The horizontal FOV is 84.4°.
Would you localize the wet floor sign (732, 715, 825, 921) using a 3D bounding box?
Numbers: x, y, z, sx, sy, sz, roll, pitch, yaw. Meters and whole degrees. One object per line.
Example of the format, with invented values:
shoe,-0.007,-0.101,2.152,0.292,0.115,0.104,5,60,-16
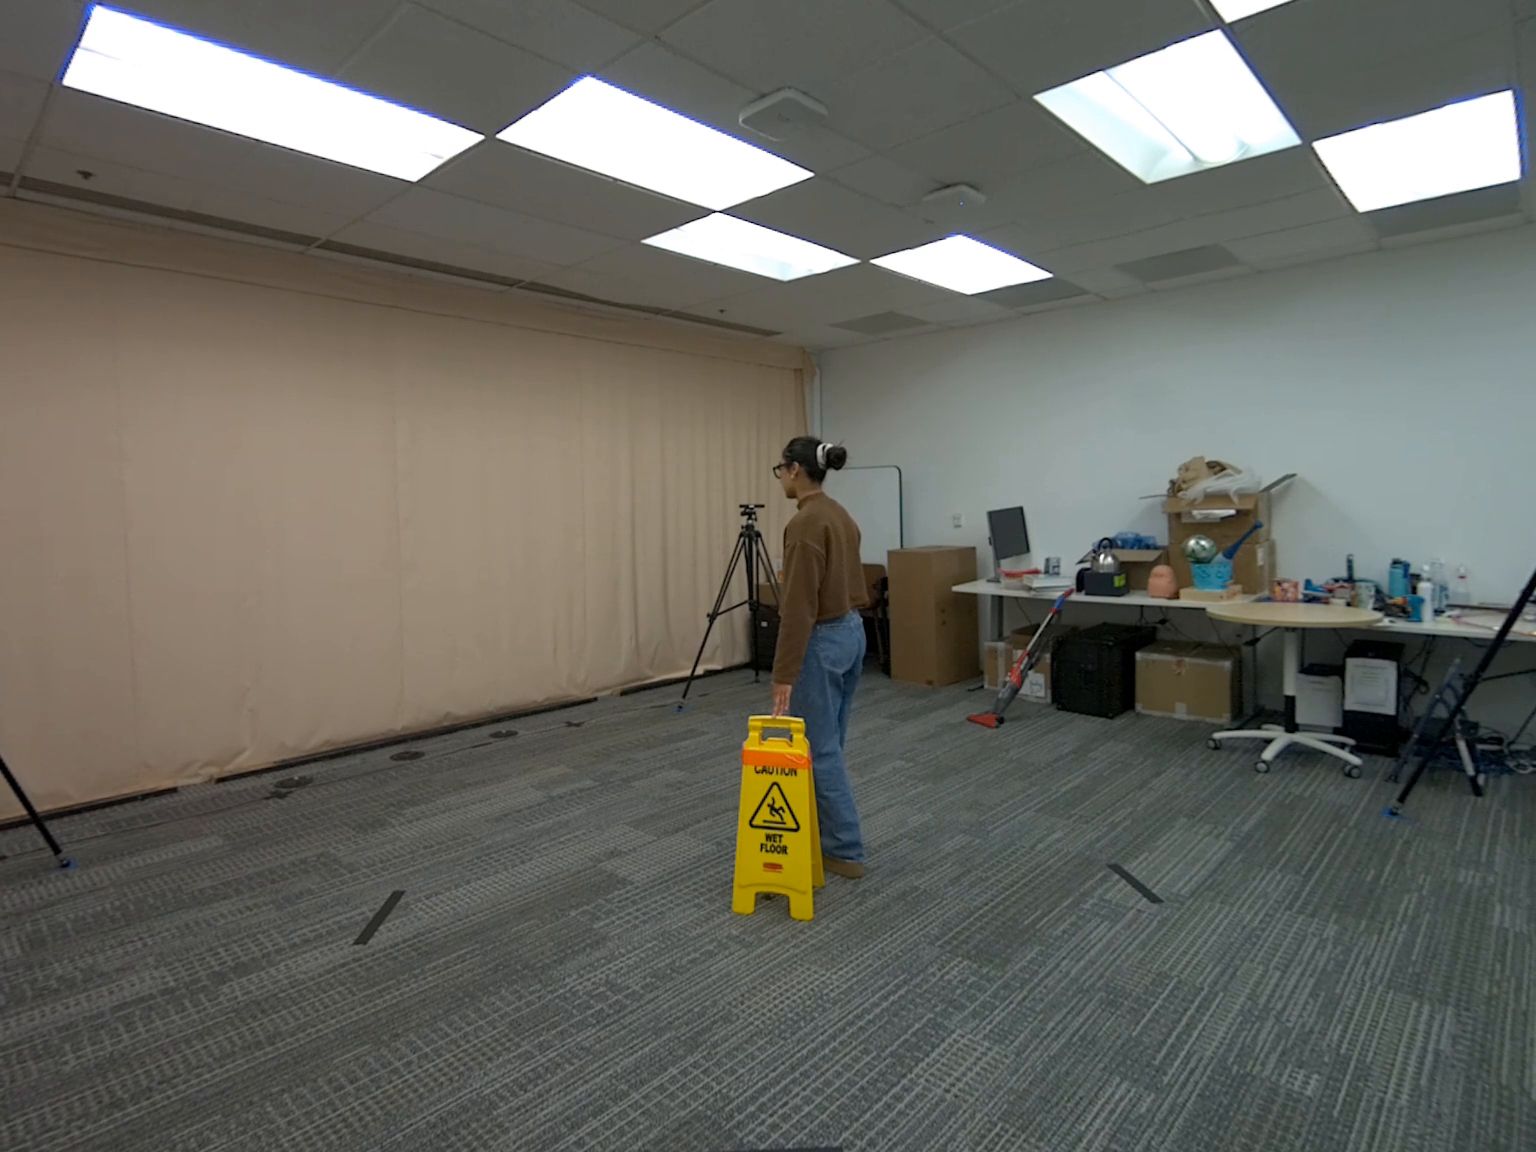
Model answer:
wet floor sign,0.040,0.817,2.963,0.287,0.645,0.286,0,3,13
